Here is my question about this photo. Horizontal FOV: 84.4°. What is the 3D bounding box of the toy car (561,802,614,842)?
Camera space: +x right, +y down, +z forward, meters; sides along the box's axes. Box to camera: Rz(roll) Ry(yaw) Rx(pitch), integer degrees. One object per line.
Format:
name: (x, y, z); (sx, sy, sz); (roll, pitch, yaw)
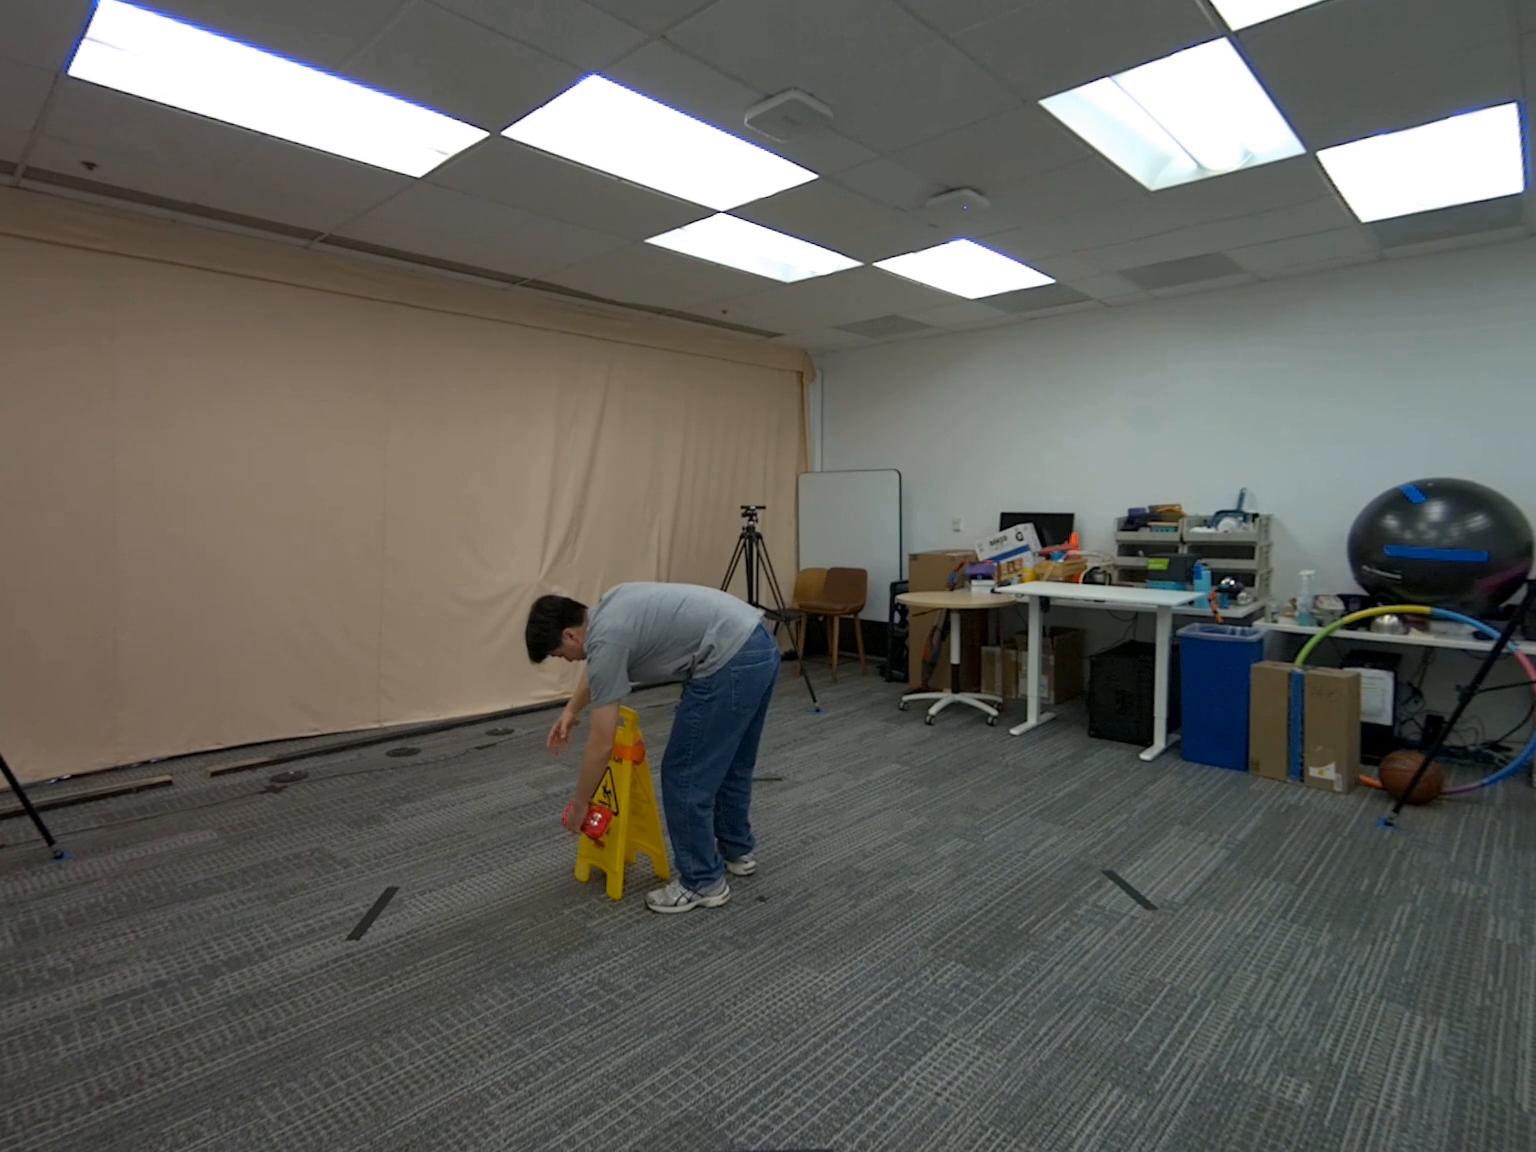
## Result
toy car: (-0.638, 0.850, 2.988); (0.080, 0.131, 0.262); (34, -21, -36)
